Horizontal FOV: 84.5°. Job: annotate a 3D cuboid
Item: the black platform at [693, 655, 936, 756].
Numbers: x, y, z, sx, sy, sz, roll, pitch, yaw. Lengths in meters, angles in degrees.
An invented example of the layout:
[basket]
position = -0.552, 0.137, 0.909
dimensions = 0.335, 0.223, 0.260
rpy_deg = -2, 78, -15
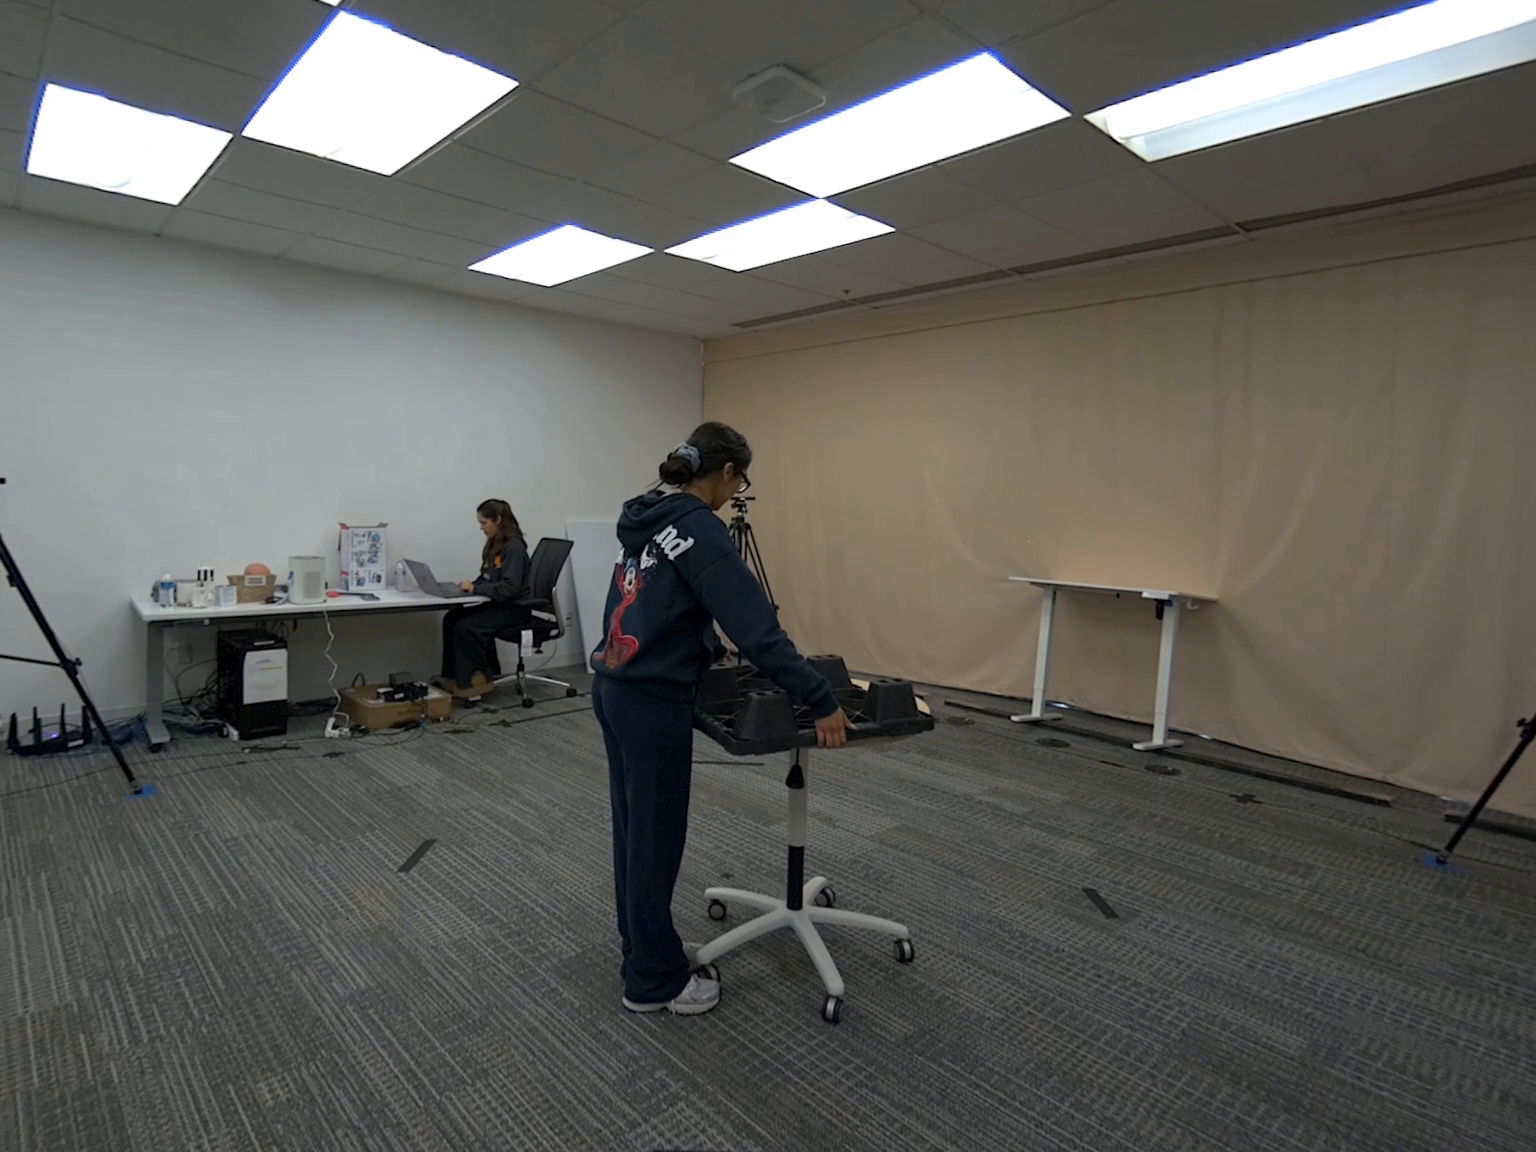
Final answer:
[black platform]
position = 0.017, 0.325, 2.503
dimensions = 0.594, 0.143, 0.823
rpy_deg = -3, 7, -26
